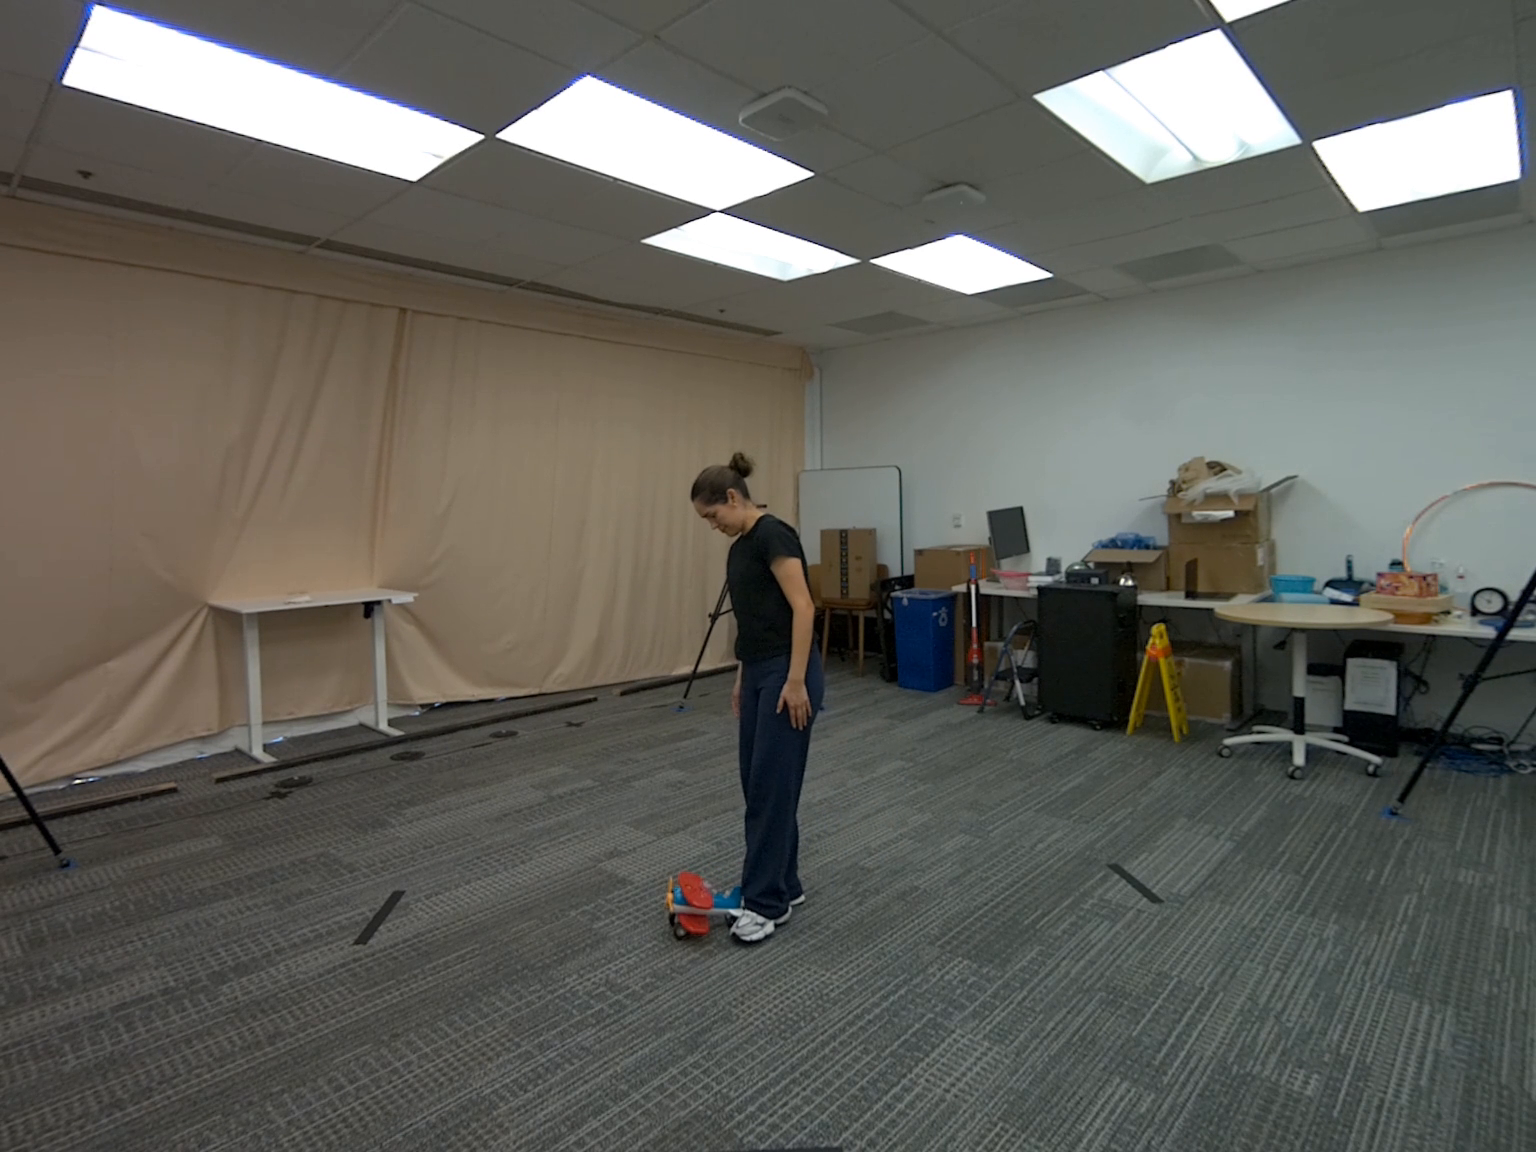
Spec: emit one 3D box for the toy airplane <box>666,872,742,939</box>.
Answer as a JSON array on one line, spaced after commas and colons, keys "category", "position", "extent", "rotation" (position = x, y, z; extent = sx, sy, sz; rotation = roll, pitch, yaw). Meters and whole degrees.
[{"category": "toy airplane", "position": [-0.207, 1.091, 2.785], "extent": [0.251, 0.156, 0.259], "rotation": [-7, 7, -42]}]
